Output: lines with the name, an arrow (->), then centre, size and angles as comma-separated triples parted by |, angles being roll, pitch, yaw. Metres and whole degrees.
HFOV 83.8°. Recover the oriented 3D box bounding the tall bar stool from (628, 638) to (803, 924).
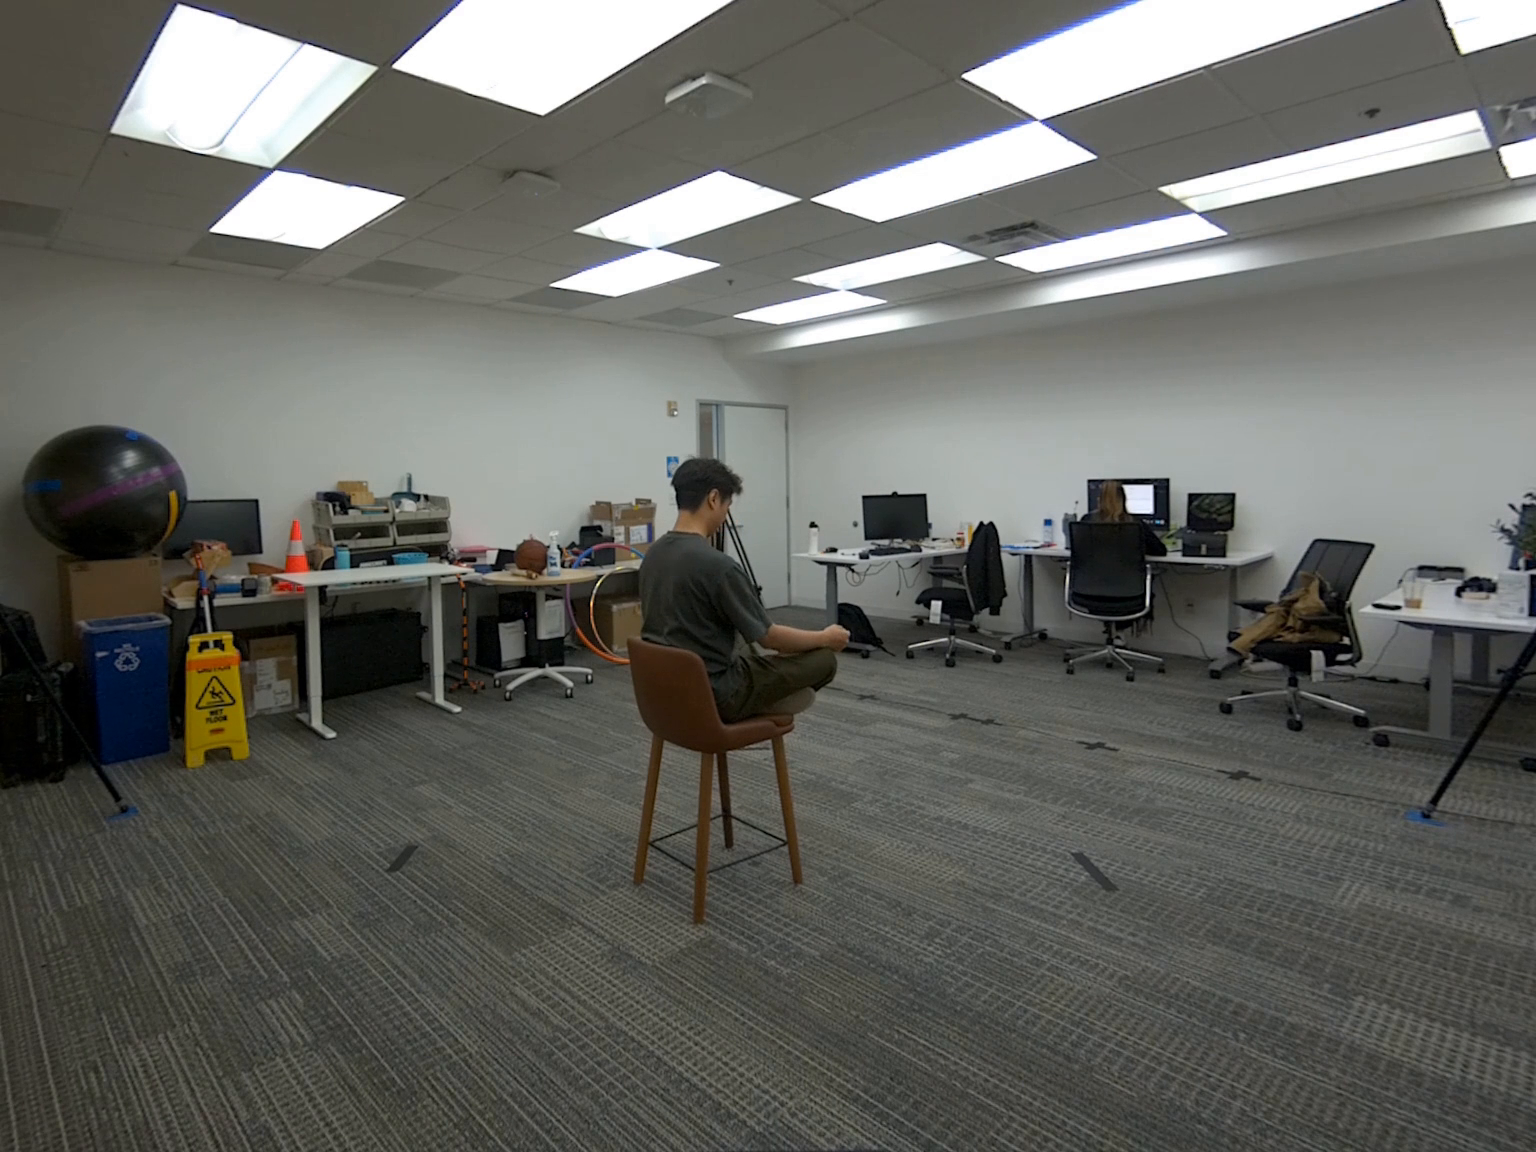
tall bar stool -> -0.193, 0.631, 2.935 | 0.456, 0.885, 0.470 | -8, 8, -40
